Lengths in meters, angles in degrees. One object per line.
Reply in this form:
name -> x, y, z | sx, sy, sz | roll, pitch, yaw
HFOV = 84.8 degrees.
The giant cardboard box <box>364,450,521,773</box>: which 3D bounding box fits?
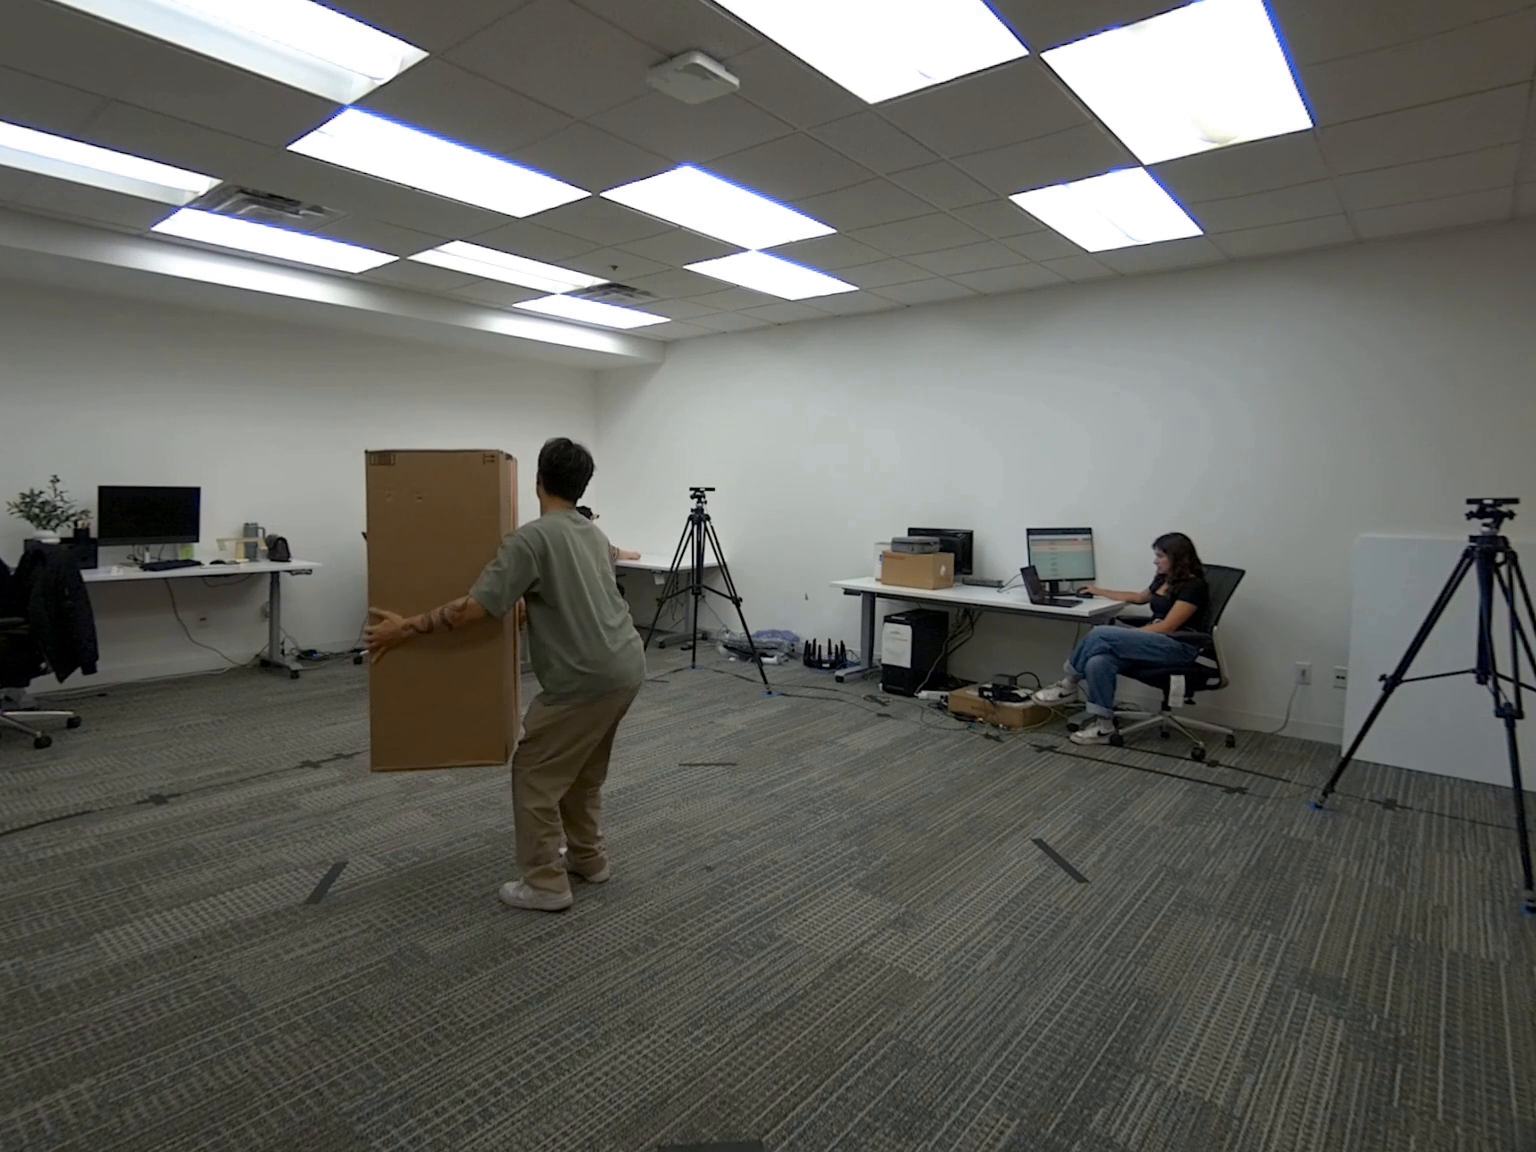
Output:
giant cardboard box -> -1.131, 0.096, 2.987 | 0.422, 1.025, 0.584 | -1, 1, -10
